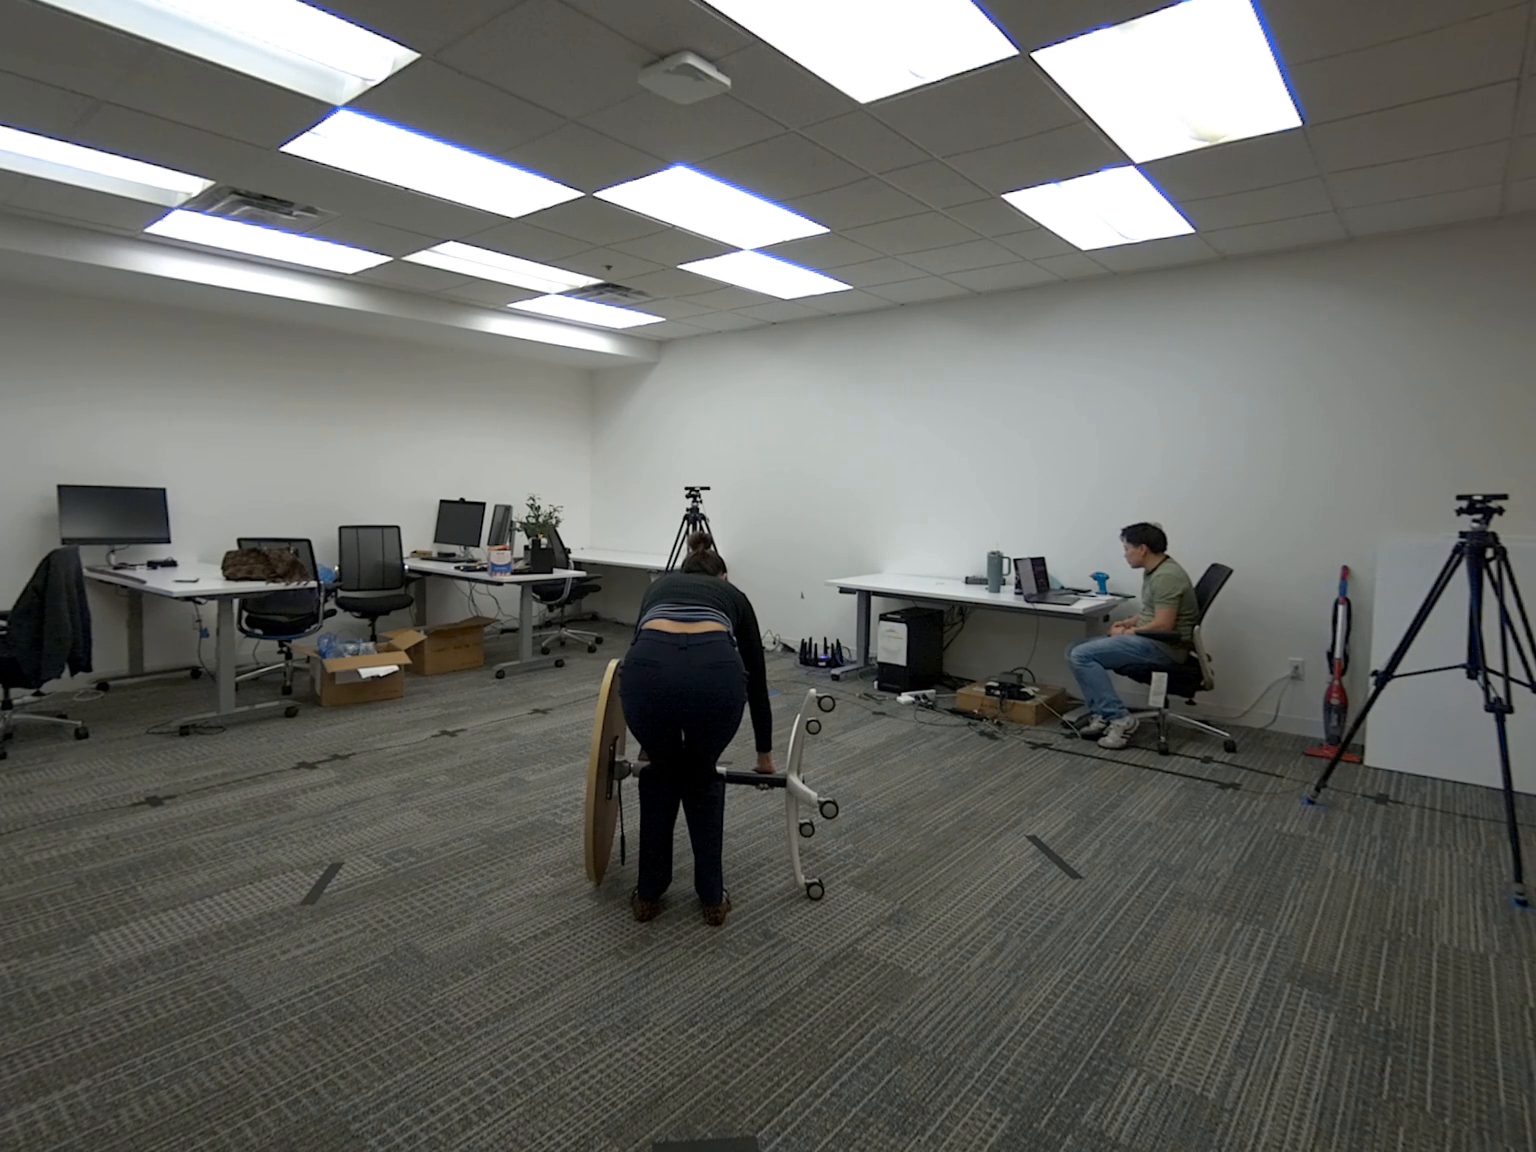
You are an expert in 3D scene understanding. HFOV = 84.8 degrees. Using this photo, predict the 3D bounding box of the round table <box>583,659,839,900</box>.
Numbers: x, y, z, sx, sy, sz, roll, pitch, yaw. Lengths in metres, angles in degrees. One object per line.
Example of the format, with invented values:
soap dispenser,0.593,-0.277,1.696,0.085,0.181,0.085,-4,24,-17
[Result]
round table,-0.195,0.719,3.042,0.794,0.762,0.767,5,4,-1
